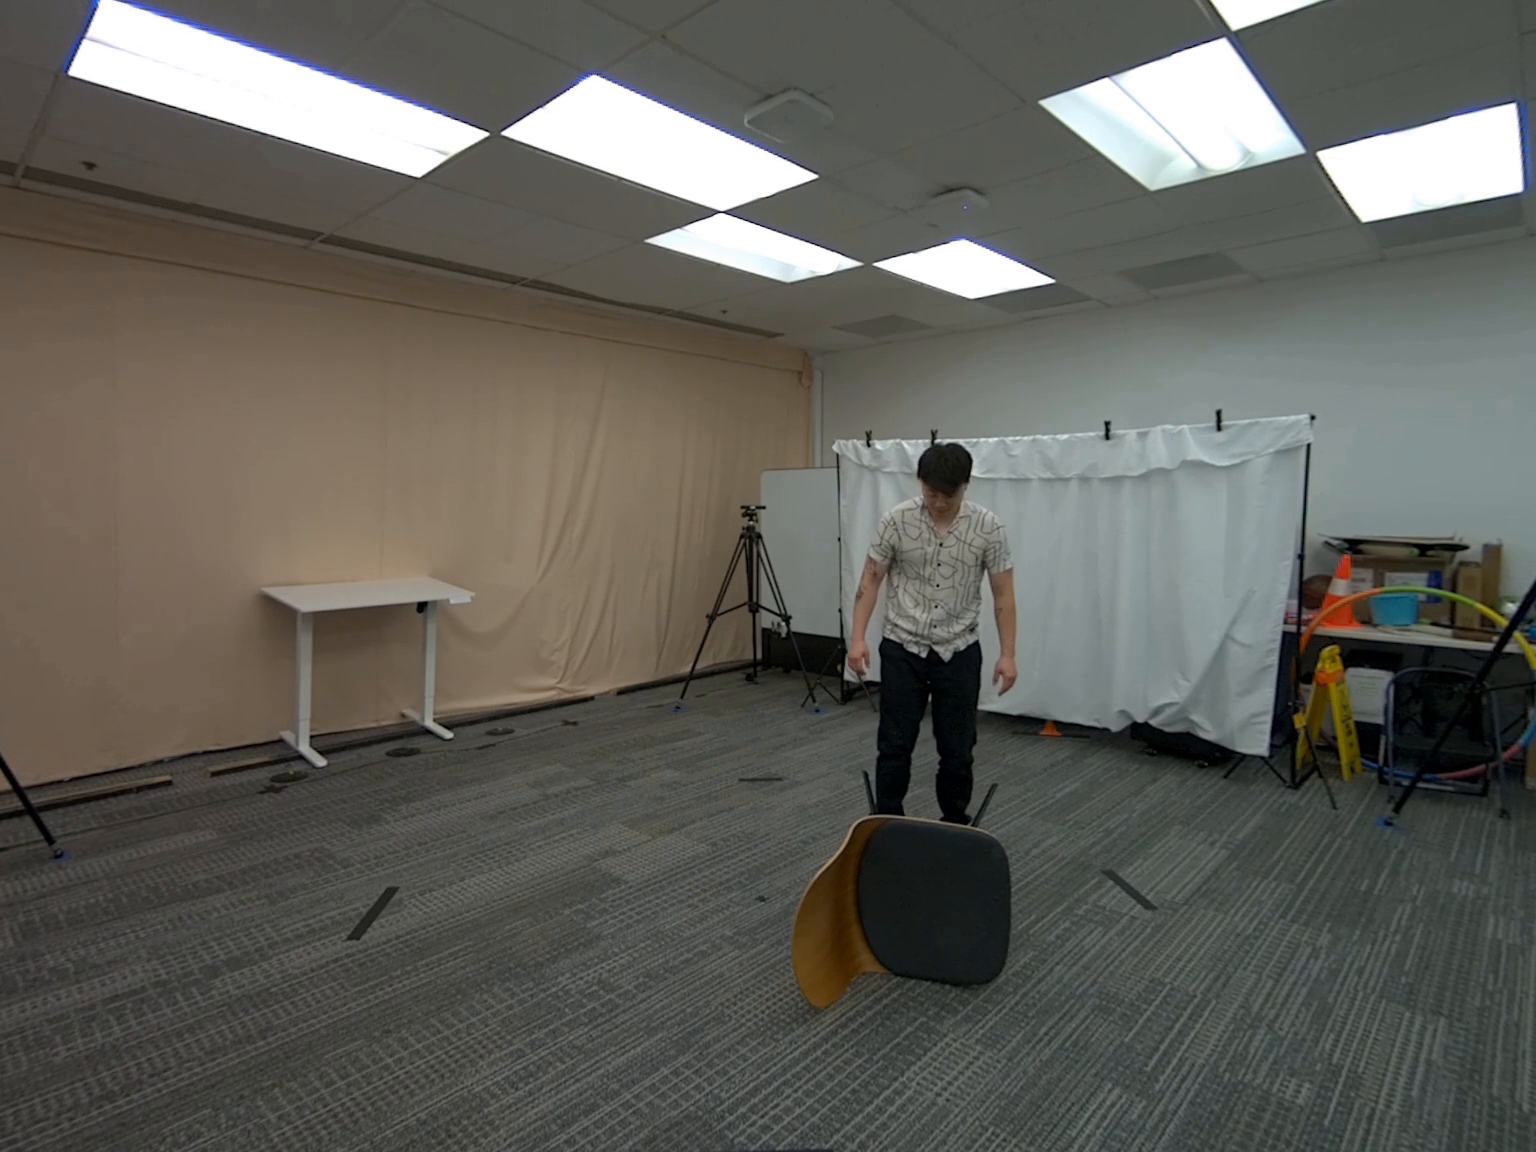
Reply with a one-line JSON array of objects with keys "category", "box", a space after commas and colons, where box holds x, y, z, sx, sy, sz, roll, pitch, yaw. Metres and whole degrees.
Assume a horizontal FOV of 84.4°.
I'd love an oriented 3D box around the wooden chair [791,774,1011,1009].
[{"category": "wooden chair", "box": [0.459, 0.954, 2.516, 0.535, 0.477, 0.859, 2, 4, 20]}]
